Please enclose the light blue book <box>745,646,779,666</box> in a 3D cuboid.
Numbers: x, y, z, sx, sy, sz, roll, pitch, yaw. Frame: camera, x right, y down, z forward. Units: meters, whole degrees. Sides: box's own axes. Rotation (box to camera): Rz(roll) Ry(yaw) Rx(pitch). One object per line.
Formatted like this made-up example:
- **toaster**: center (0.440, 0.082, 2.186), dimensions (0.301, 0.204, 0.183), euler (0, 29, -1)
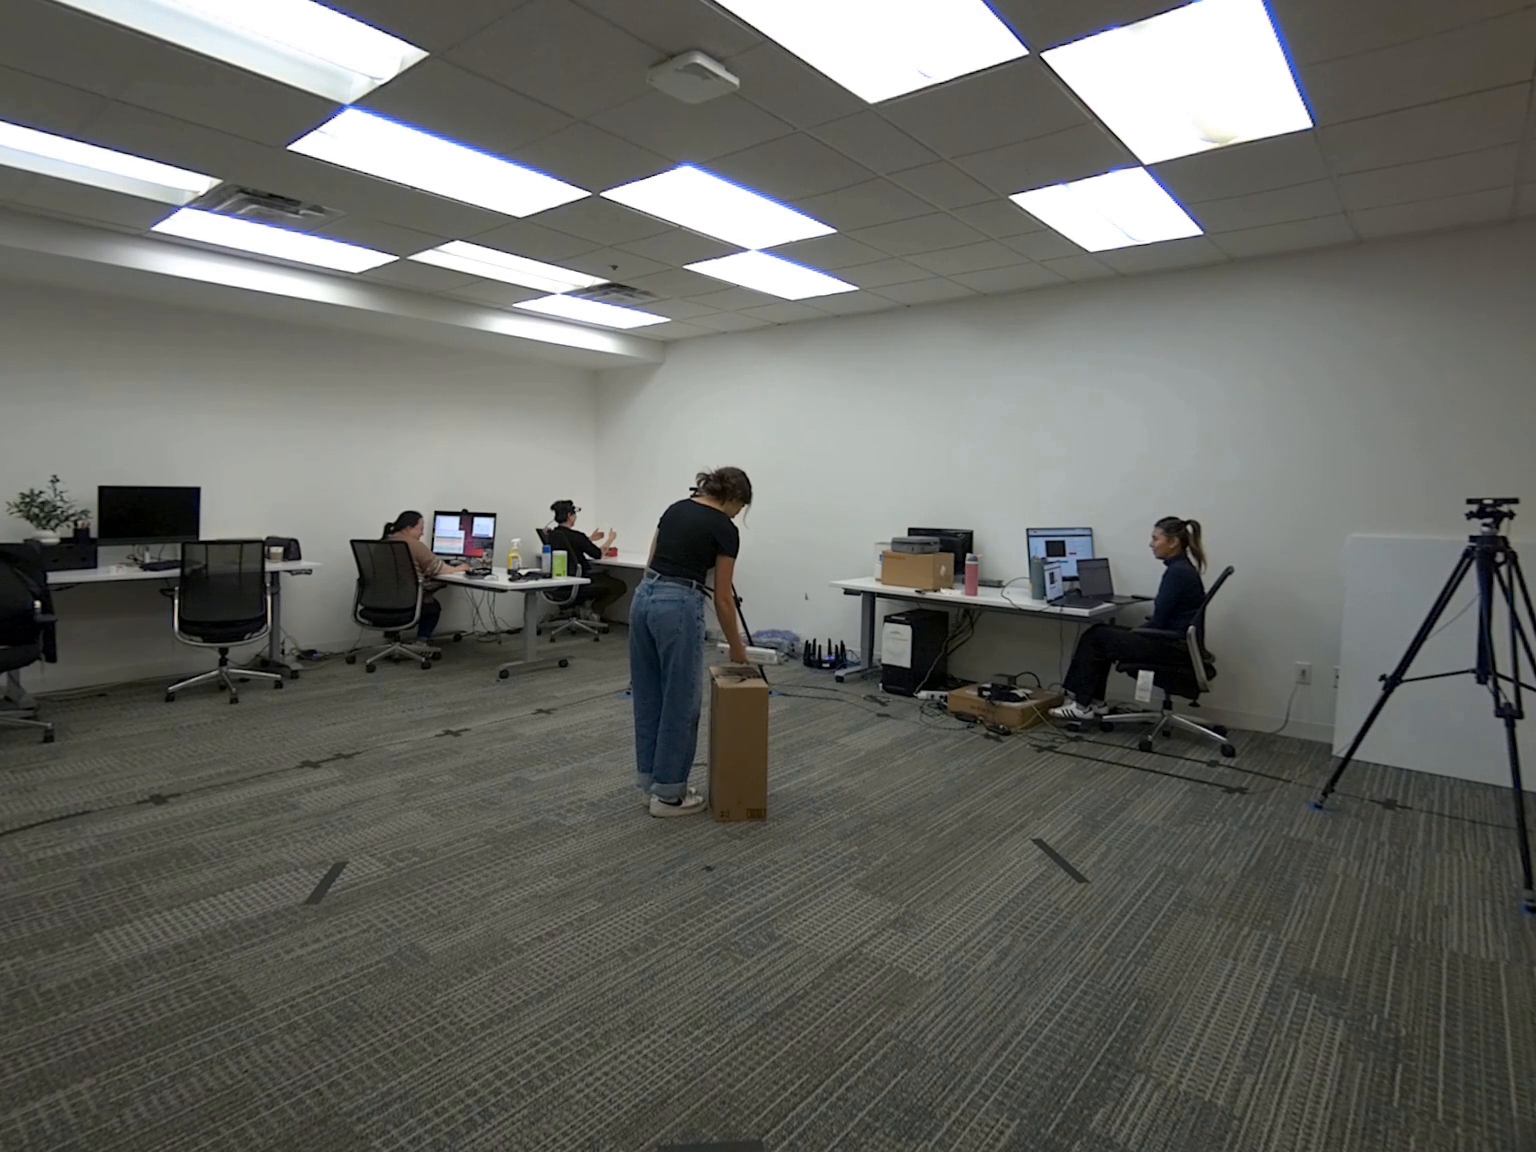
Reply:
- **light blue book**: center (-0.113, 0.358, 3.883), dimensions (0.262, 0.059, 0.190), euler (7, -4, 1)
